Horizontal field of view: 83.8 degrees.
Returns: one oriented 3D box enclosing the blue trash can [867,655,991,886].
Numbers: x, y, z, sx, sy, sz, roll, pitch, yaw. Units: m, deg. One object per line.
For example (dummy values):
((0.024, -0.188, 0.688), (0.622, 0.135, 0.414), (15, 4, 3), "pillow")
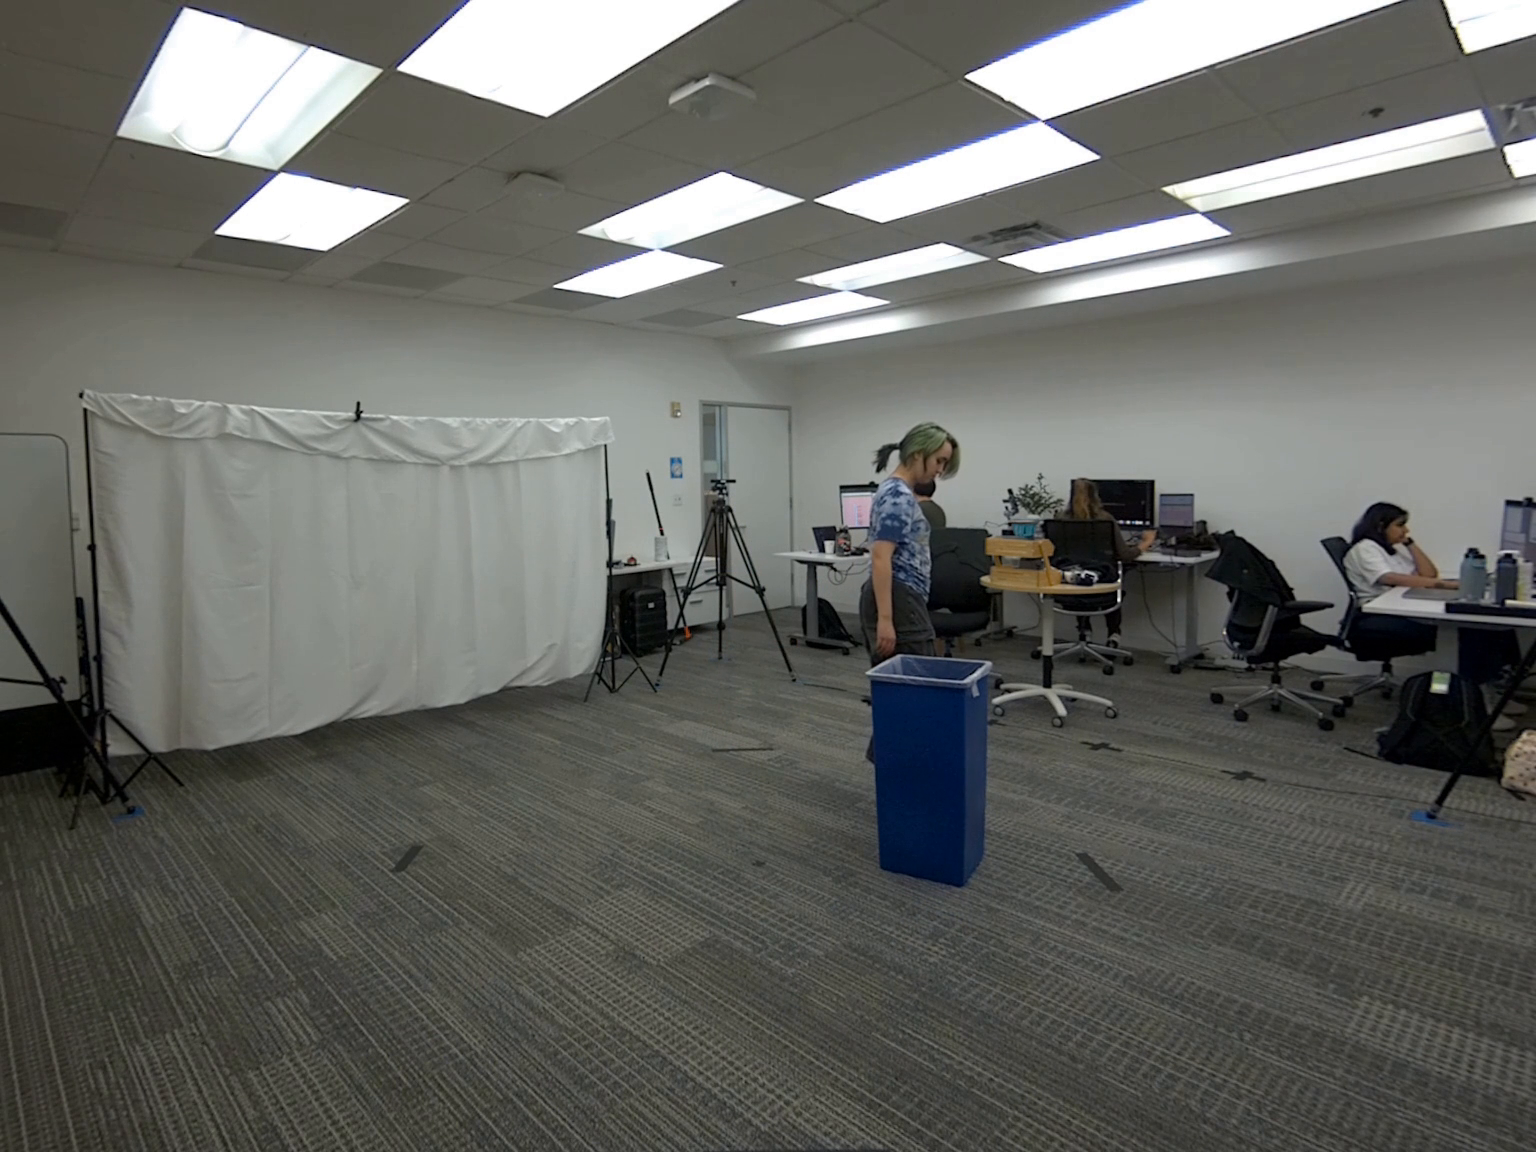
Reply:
((0.582, 0.680, 3.080), (0.383, 0.711, 0.370), (1, 4, 29), "blue trash can")
